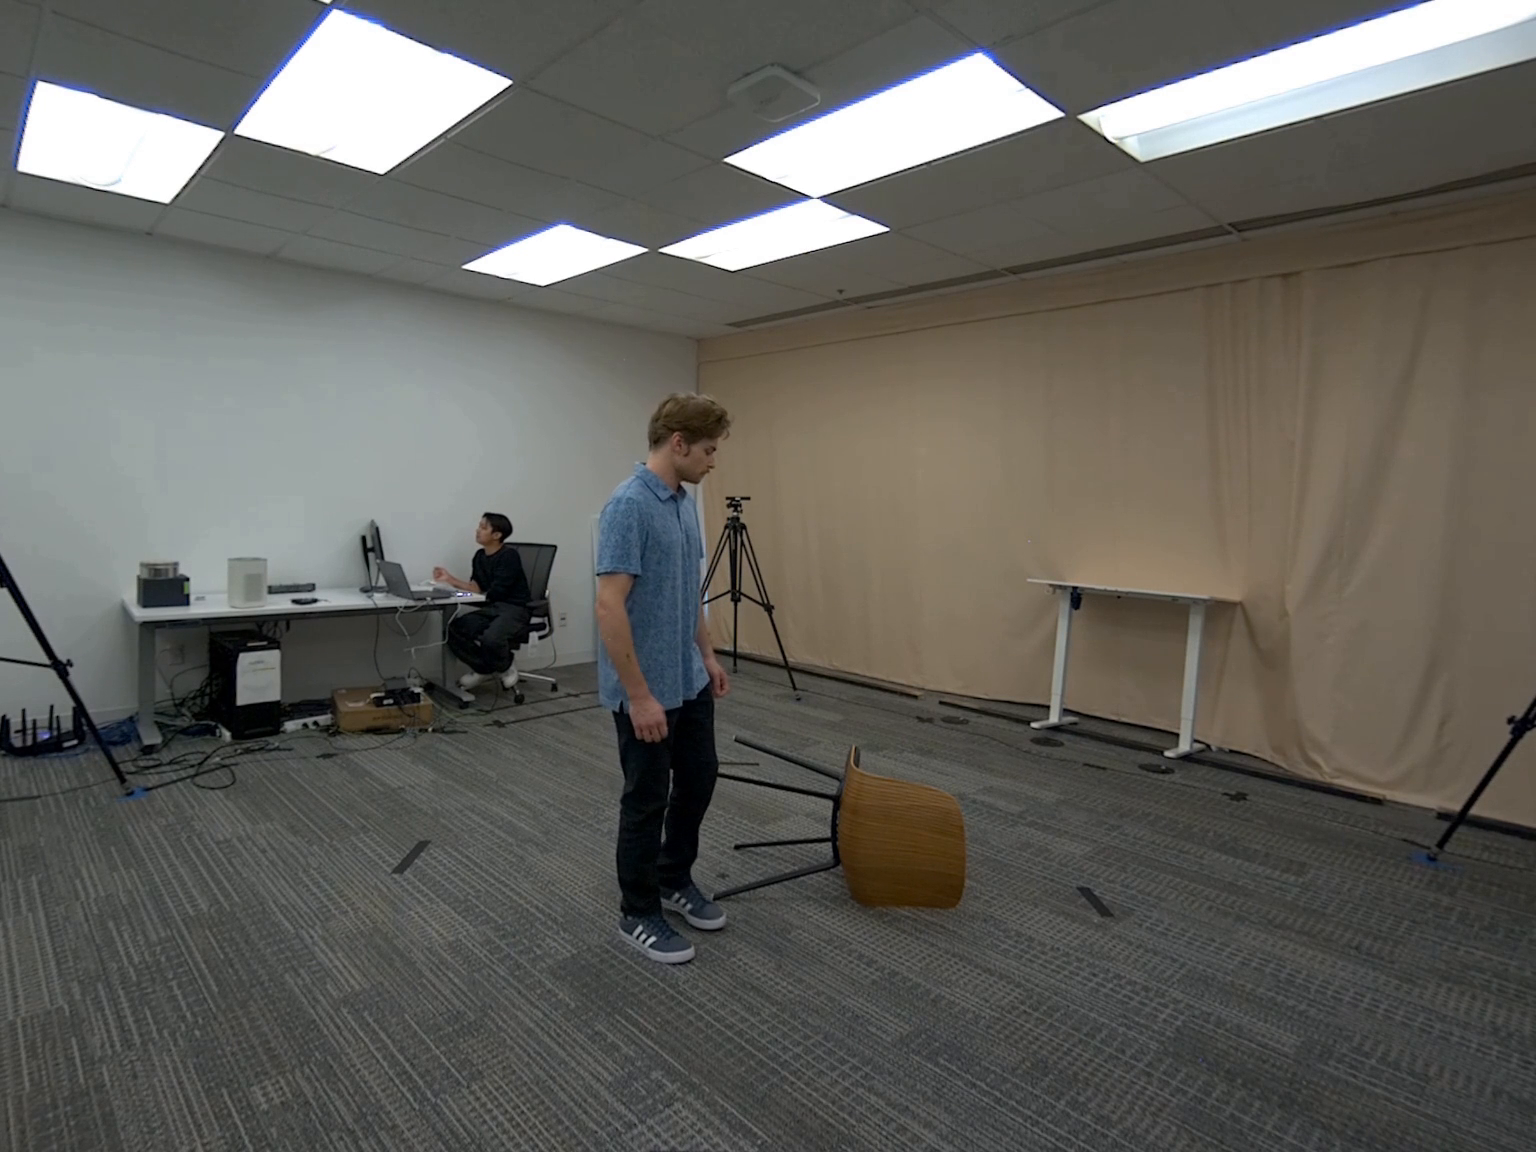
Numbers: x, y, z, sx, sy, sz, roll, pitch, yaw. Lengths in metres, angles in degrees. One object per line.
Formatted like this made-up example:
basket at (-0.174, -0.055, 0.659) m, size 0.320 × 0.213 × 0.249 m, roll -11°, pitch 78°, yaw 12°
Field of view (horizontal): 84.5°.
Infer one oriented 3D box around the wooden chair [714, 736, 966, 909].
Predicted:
wooden chair at (0.260, 0.889, 3.058) m, size 0.887 × 0.477 × 0.518 m, roll 1°, pitch 3°, yaw 13°
